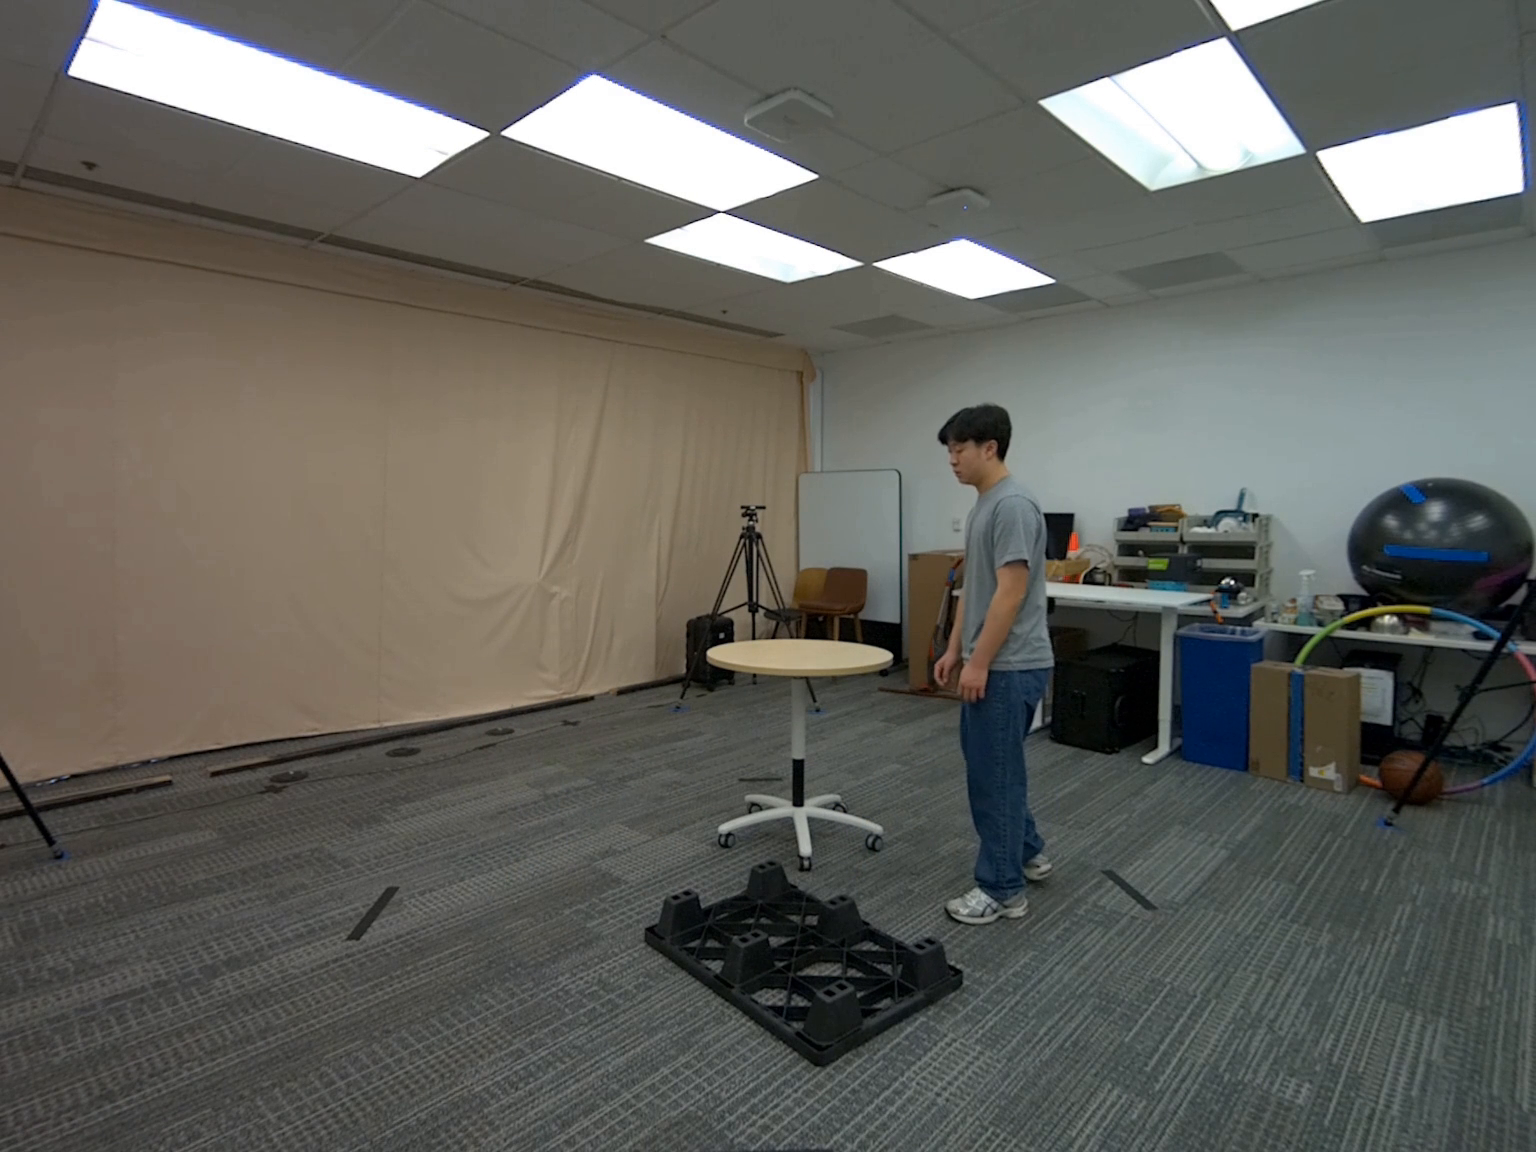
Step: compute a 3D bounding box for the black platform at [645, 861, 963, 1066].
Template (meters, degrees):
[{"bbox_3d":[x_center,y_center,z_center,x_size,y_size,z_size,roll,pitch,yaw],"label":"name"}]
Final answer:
[{"bbox_3d":[0.095,1.114,2.568,0.587,0.143,0.832,-5,7,-40],"label":"black platform"}]
